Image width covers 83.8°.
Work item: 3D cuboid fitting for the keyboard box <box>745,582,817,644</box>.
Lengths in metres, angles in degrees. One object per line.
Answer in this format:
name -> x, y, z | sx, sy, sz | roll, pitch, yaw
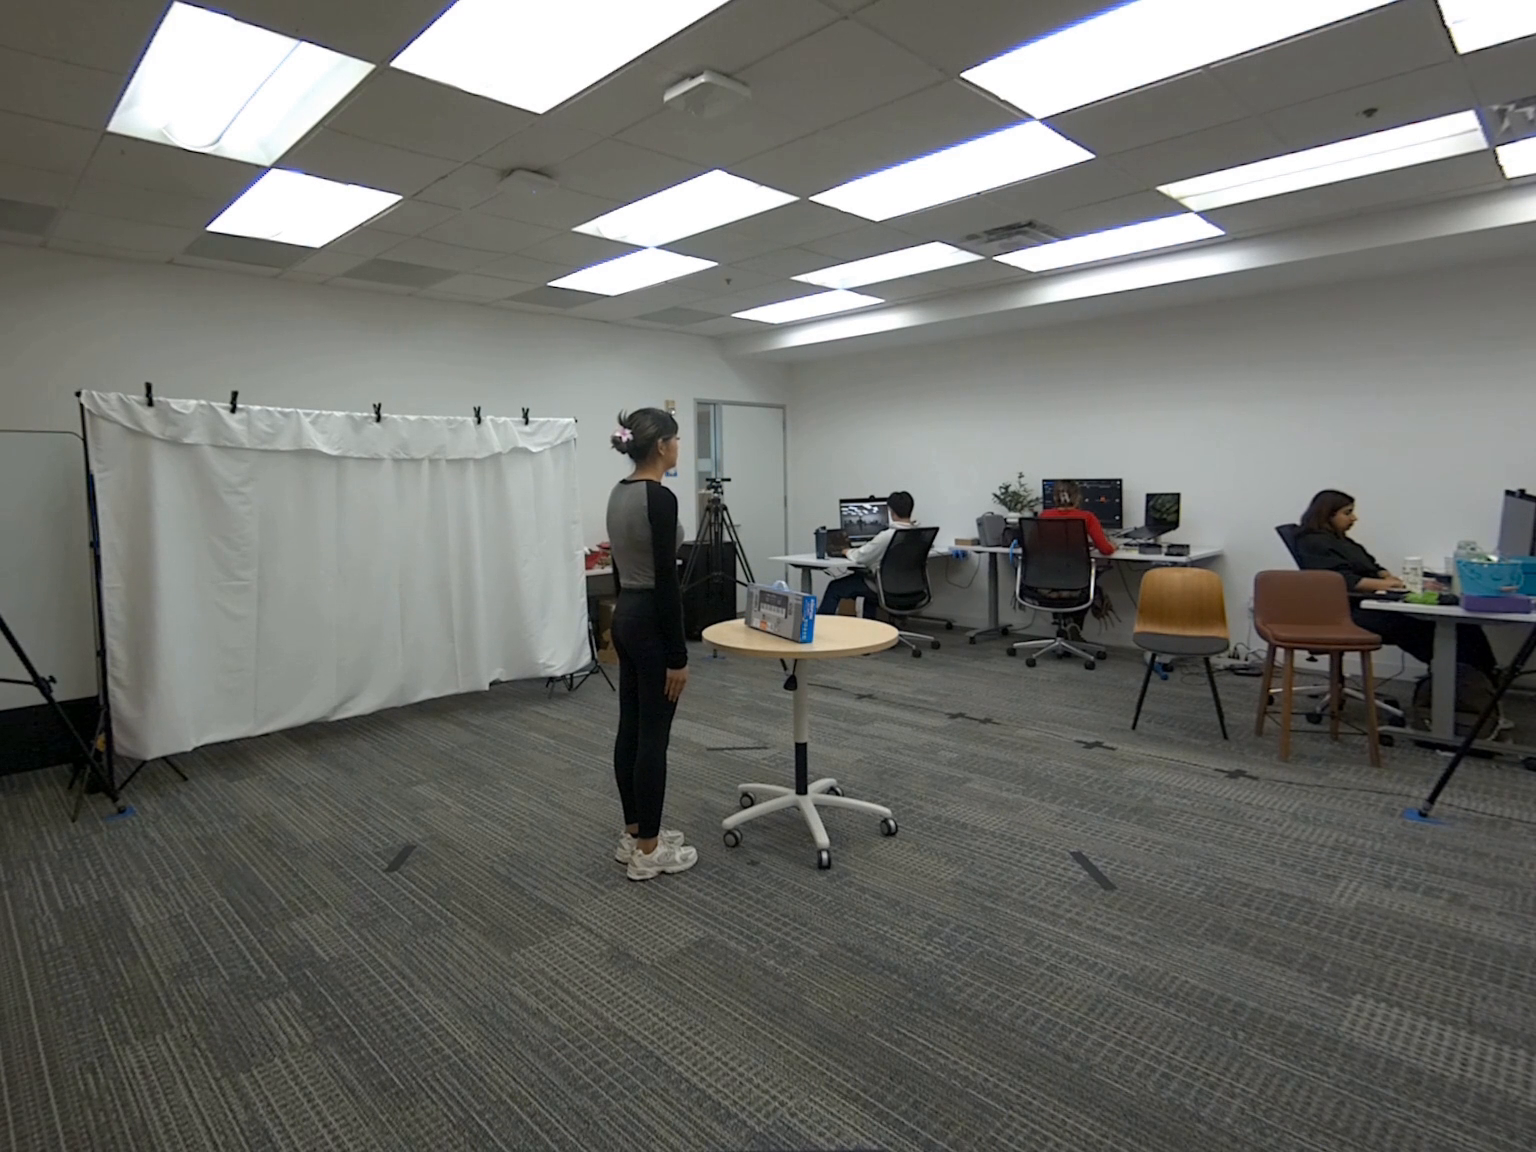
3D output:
keyboard box -> 0.038, 0.138, 3.309 | 0.058, 0.176, 0.448 | 5, 3, -26
